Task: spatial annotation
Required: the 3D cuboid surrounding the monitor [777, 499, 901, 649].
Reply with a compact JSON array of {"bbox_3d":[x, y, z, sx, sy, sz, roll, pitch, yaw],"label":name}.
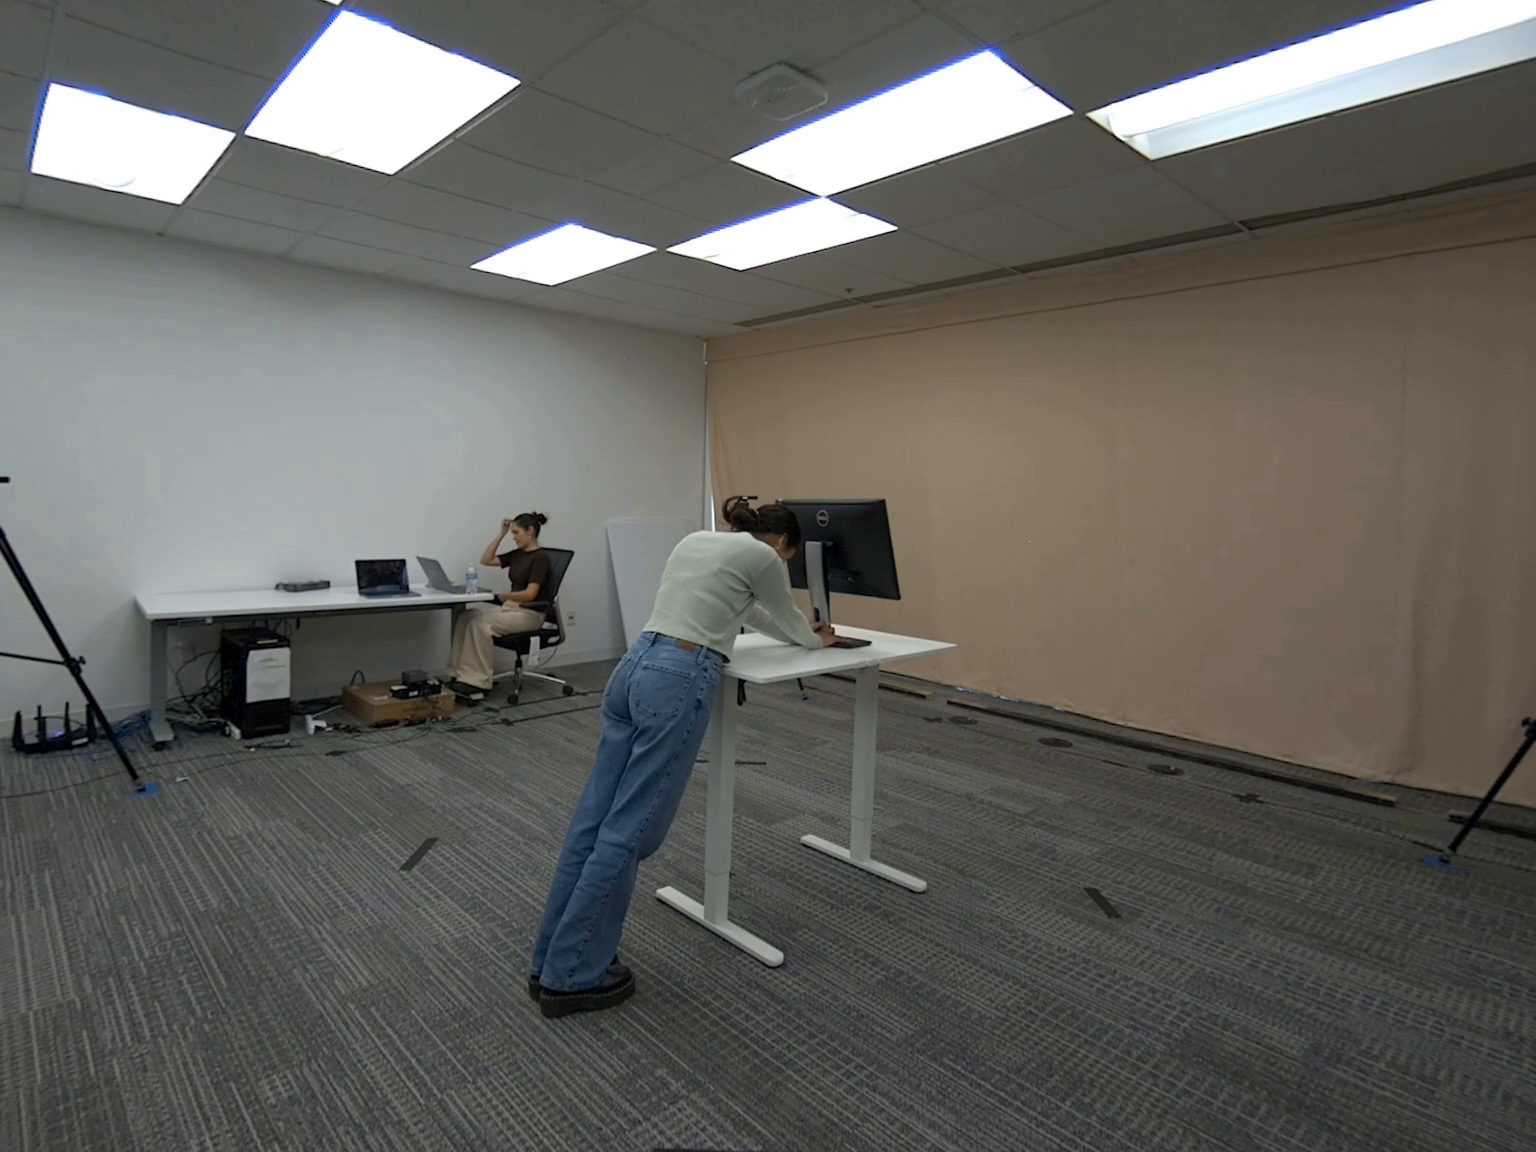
[{"bbox_3d":[0.212,-0.014,3.000,0.183,0.521,0.553,-5,6,-43],"label":"monitor"}]
